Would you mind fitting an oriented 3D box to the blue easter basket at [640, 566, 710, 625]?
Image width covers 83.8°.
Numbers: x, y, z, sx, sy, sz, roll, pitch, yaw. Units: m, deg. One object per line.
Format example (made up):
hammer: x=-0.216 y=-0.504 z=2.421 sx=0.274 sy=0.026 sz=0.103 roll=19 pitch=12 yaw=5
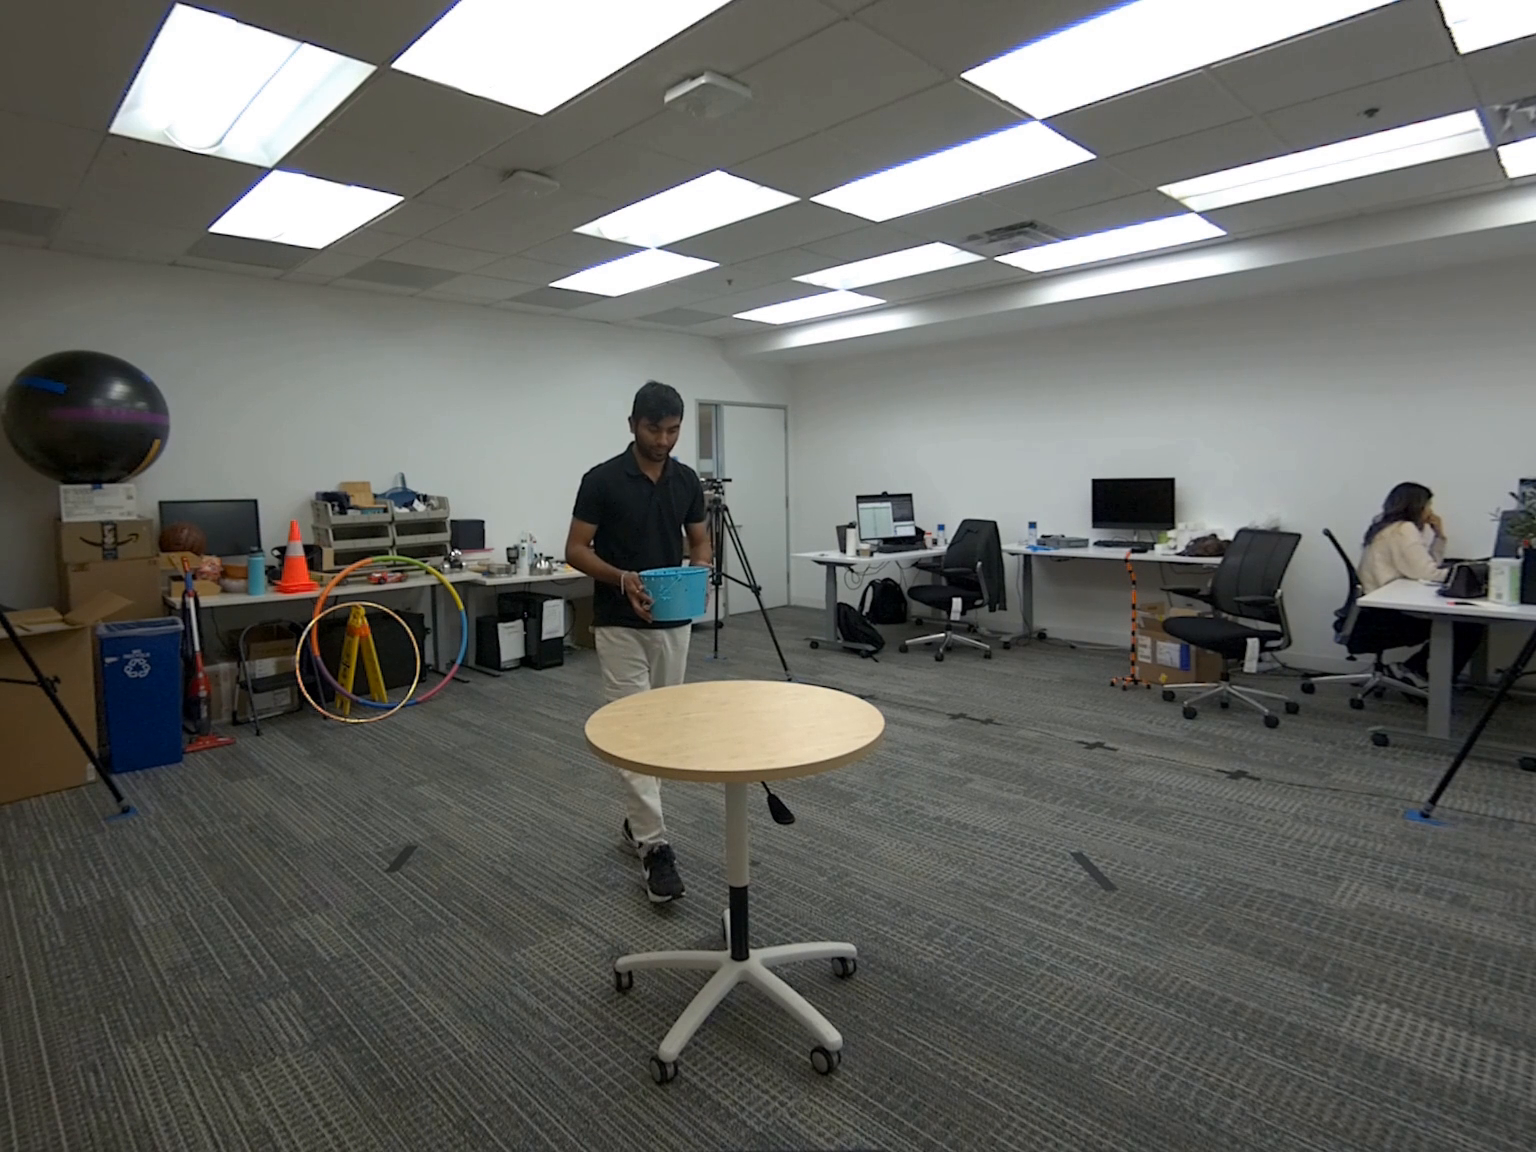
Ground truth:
blue easter basket: x=-0.323 y=0.061 z=2.811 sx=0.243 sy=0.155 sz=0.244 roll=-3 pitch=3 yaw=-2
